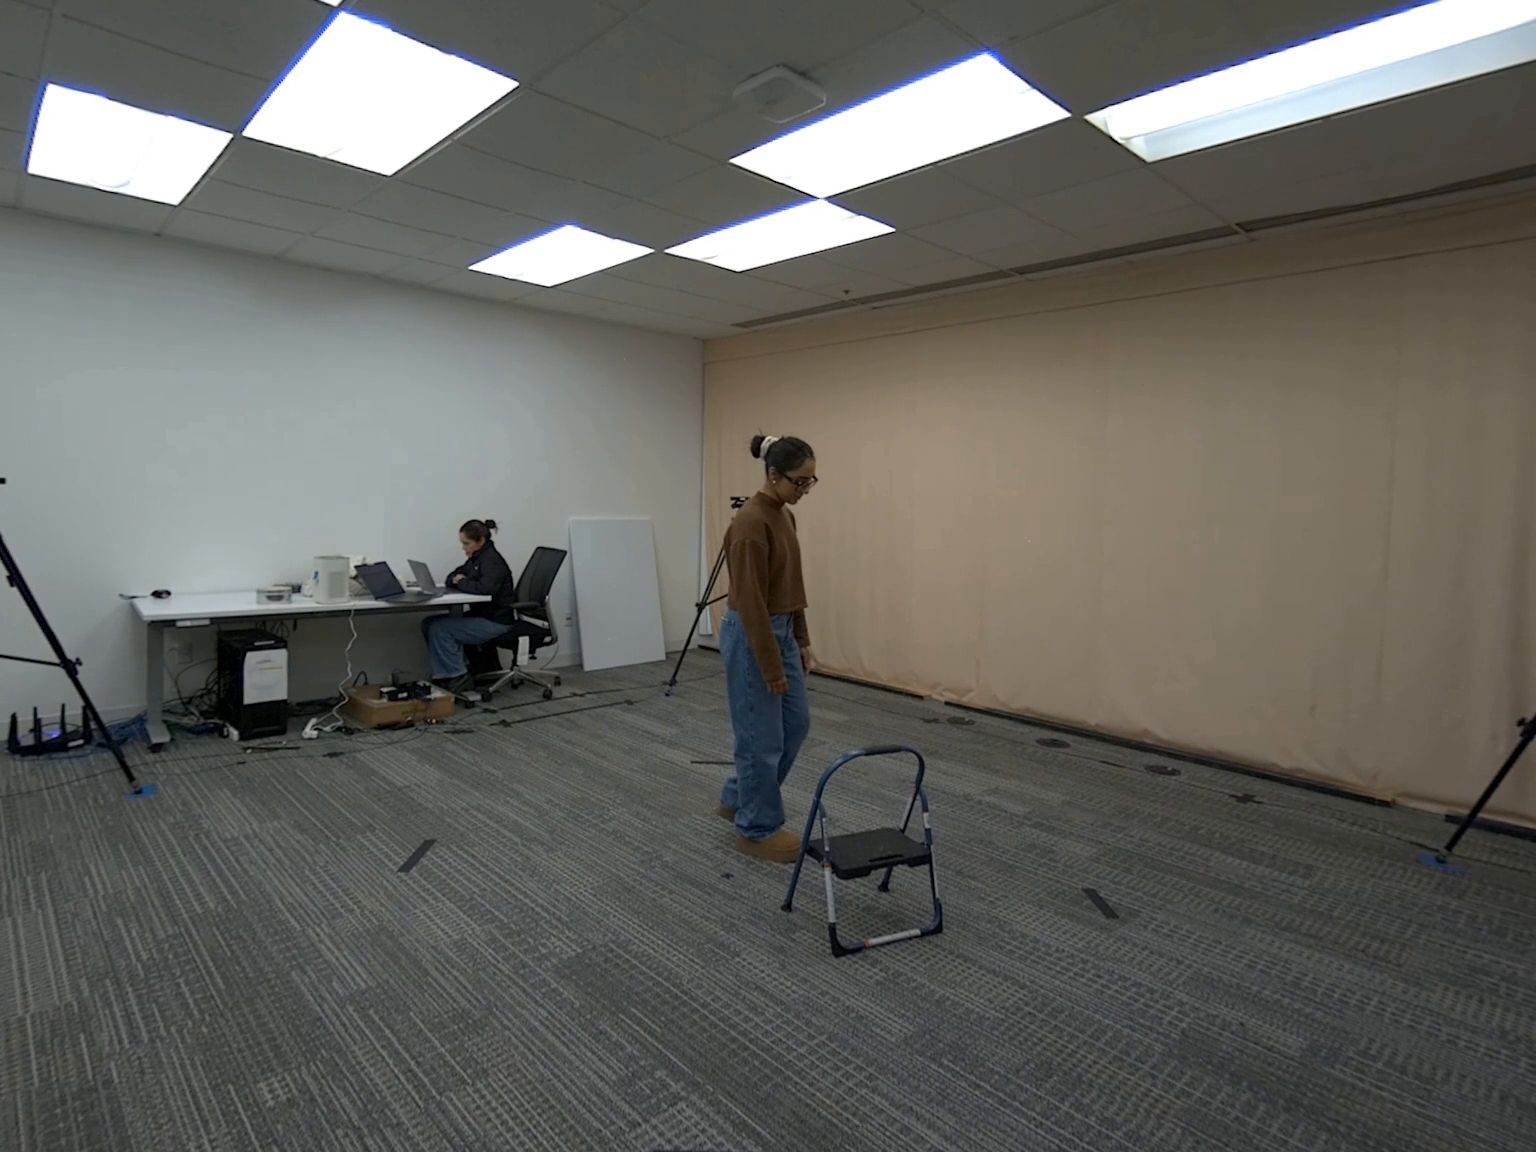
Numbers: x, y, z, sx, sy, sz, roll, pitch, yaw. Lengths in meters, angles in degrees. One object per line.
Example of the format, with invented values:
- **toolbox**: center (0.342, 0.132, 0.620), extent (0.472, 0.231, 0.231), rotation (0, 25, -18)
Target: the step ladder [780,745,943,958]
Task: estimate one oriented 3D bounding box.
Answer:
- **step ladder**: center (0.315, 0.843, 2.781), extent (0.422, 0.604, 0.357), rotation (0, 4, -26)
